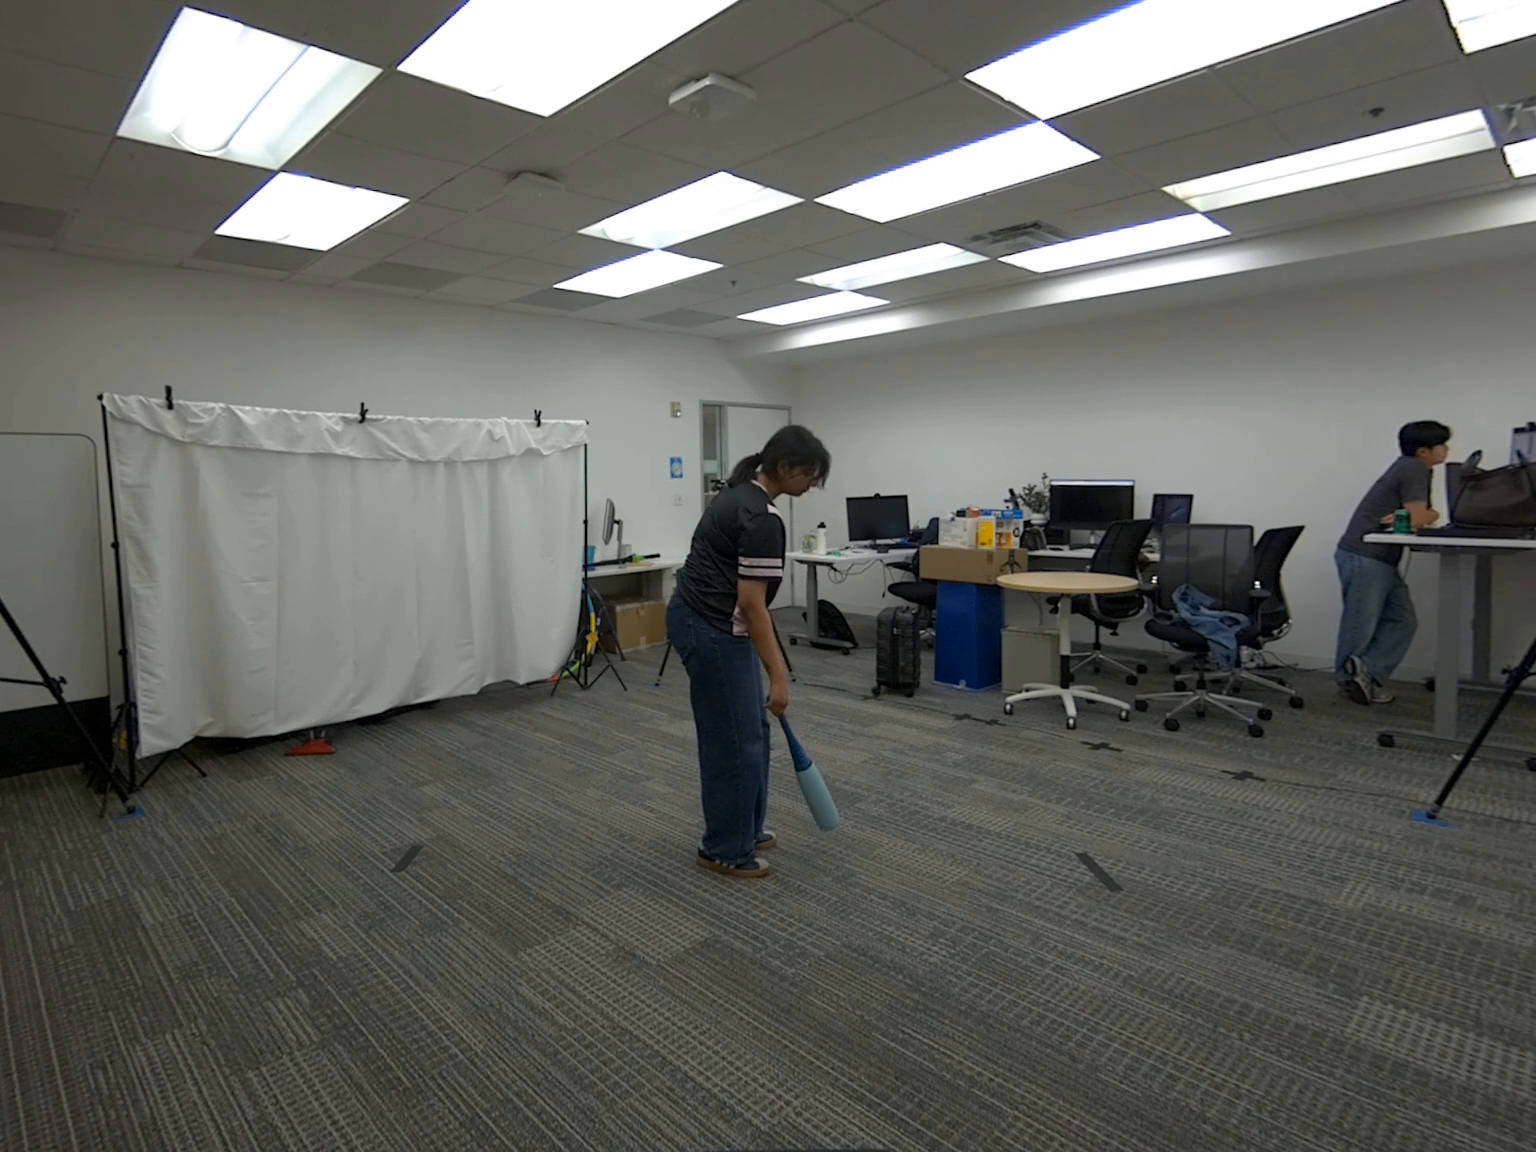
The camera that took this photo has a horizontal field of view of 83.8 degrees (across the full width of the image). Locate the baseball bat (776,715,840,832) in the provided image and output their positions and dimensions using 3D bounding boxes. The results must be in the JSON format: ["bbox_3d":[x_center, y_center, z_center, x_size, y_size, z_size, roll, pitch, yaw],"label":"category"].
[{"bbox_3d":[0.119,0.639,2.990,0.089,0.535,0.090,-24,12,4],"label":"baseball bat"}]
